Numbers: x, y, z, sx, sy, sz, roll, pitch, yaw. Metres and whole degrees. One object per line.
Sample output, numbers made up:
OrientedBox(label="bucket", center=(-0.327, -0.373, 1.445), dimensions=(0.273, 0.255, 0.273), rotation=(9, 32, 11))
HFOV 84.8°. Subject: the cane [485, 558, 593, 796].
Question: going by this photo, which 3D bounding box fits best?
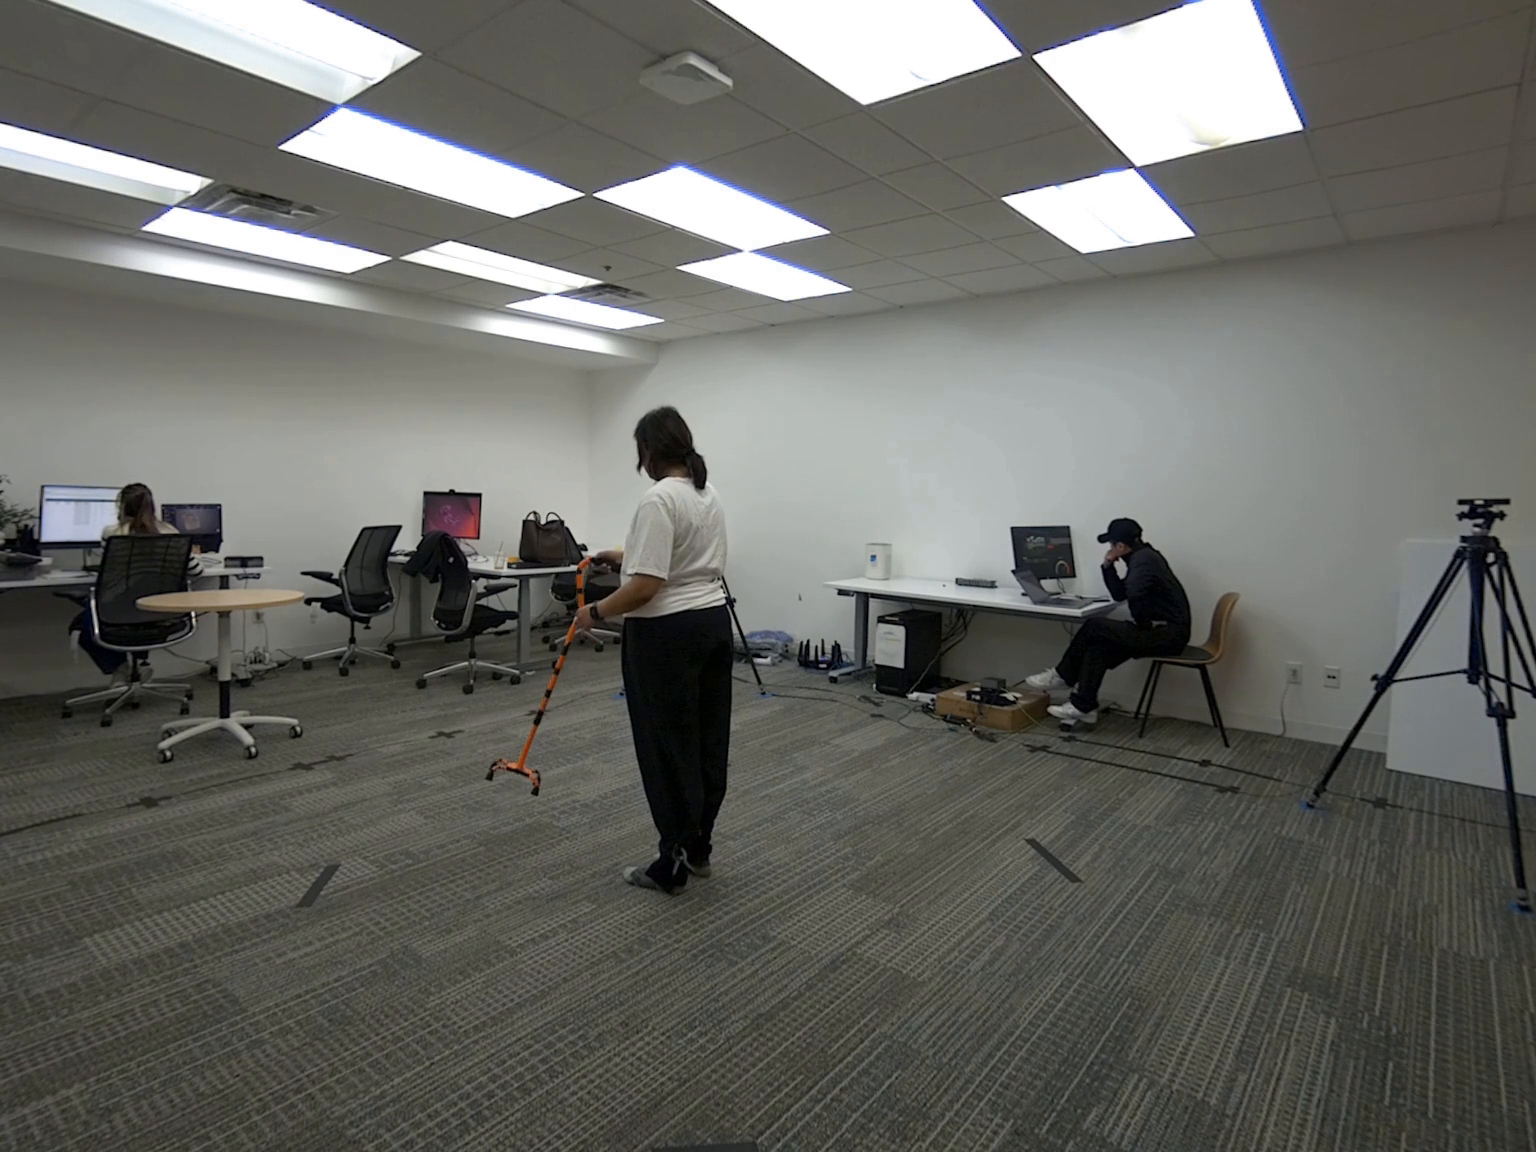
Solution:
OrientedBox(label="cane", center=(-0.817, 0.366, 3.244), dimensions=(0.204, 0.909, 0.153), rotation=(20, -3, -11))
